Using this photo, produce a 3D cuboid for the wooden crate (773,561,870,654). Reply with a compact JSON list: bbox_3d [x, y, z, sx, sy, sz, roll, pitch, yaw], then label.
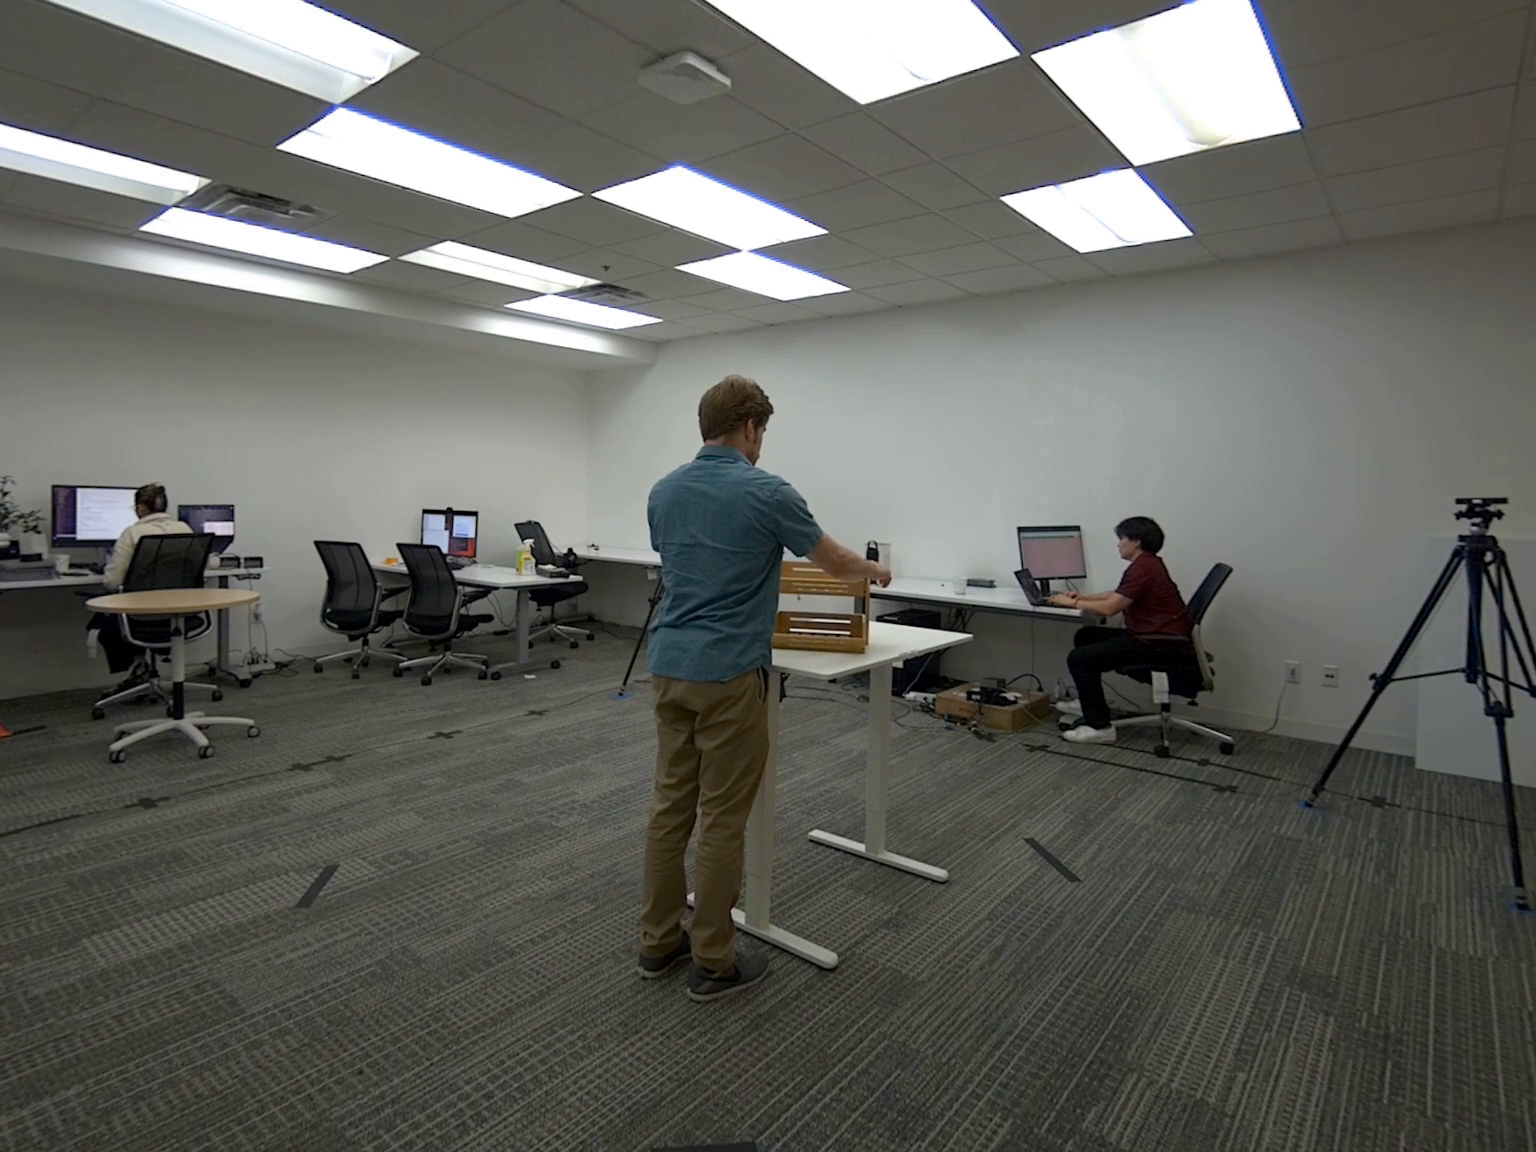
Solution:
[{"bbox_3d":[0.167,0.097,2.813,0.326,0.273,0.301,4,3,3],"label":"wooden crate"}]
